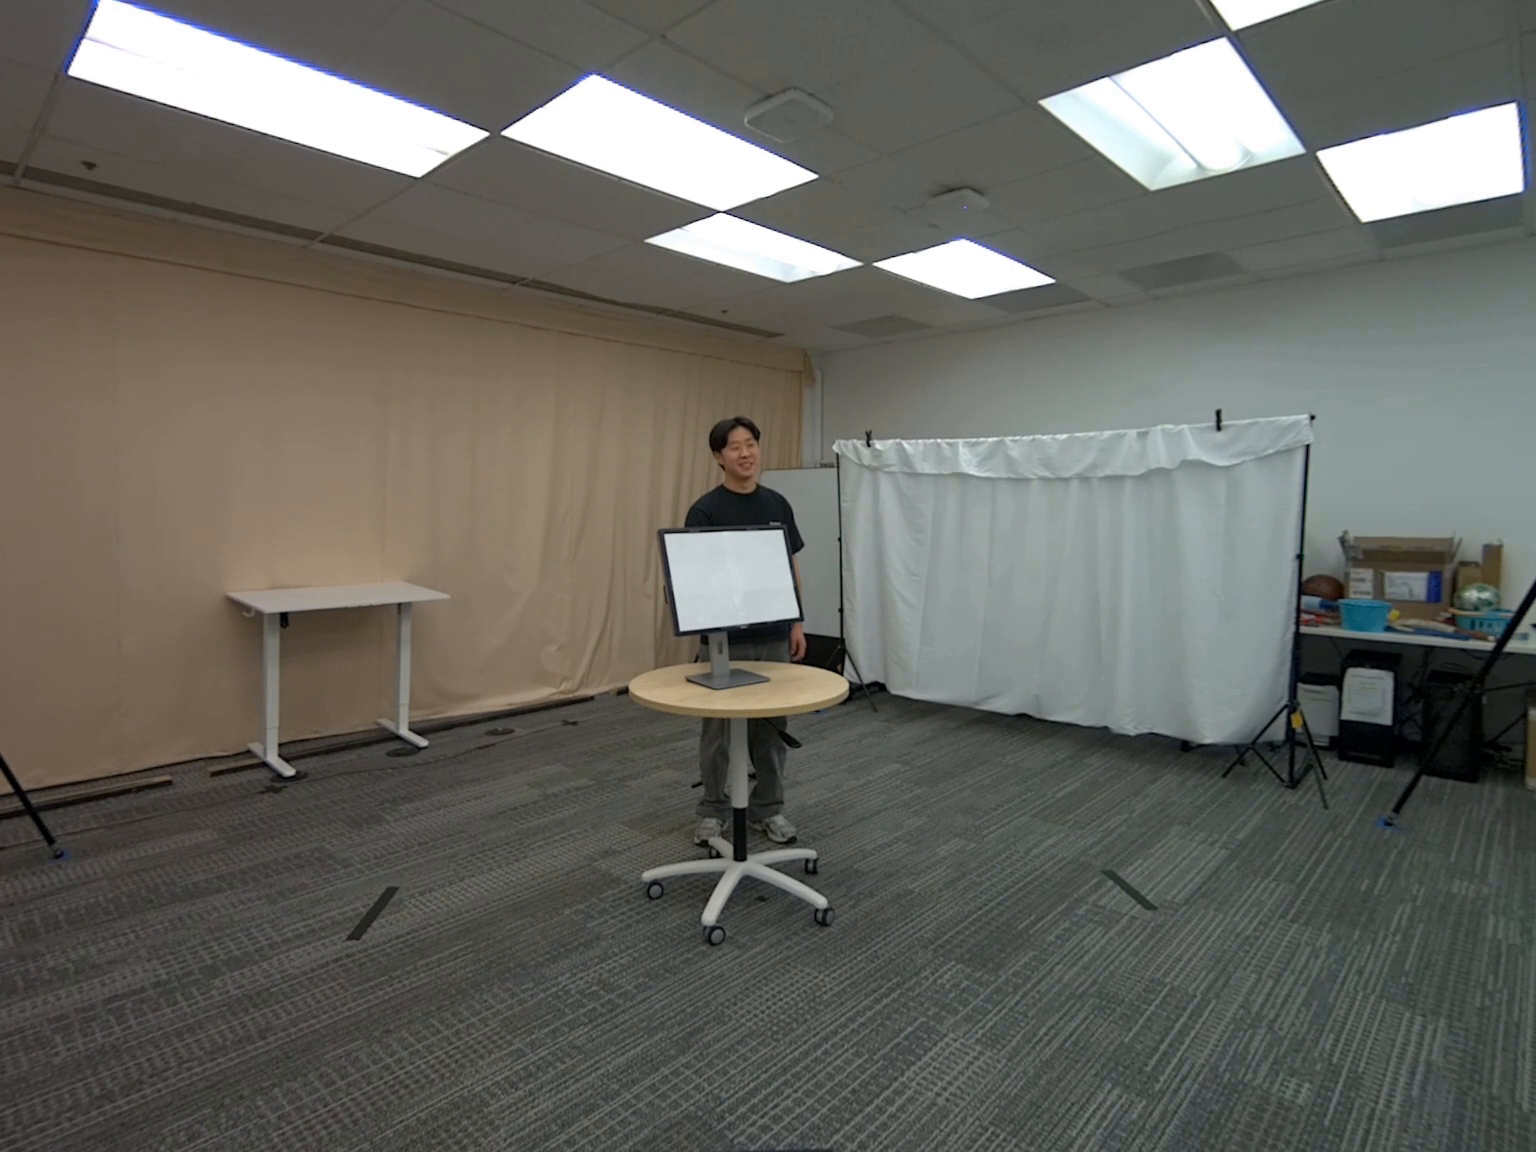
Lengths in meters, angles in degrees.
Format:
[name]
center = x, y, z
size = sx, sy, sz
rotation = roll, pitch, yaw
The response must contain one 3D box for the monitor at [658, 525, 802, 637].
[monitor]
center = -0.137, 0.110, 2.958
size = 0.546, 0.564, 0.229
rotation = -4, 6, -35
